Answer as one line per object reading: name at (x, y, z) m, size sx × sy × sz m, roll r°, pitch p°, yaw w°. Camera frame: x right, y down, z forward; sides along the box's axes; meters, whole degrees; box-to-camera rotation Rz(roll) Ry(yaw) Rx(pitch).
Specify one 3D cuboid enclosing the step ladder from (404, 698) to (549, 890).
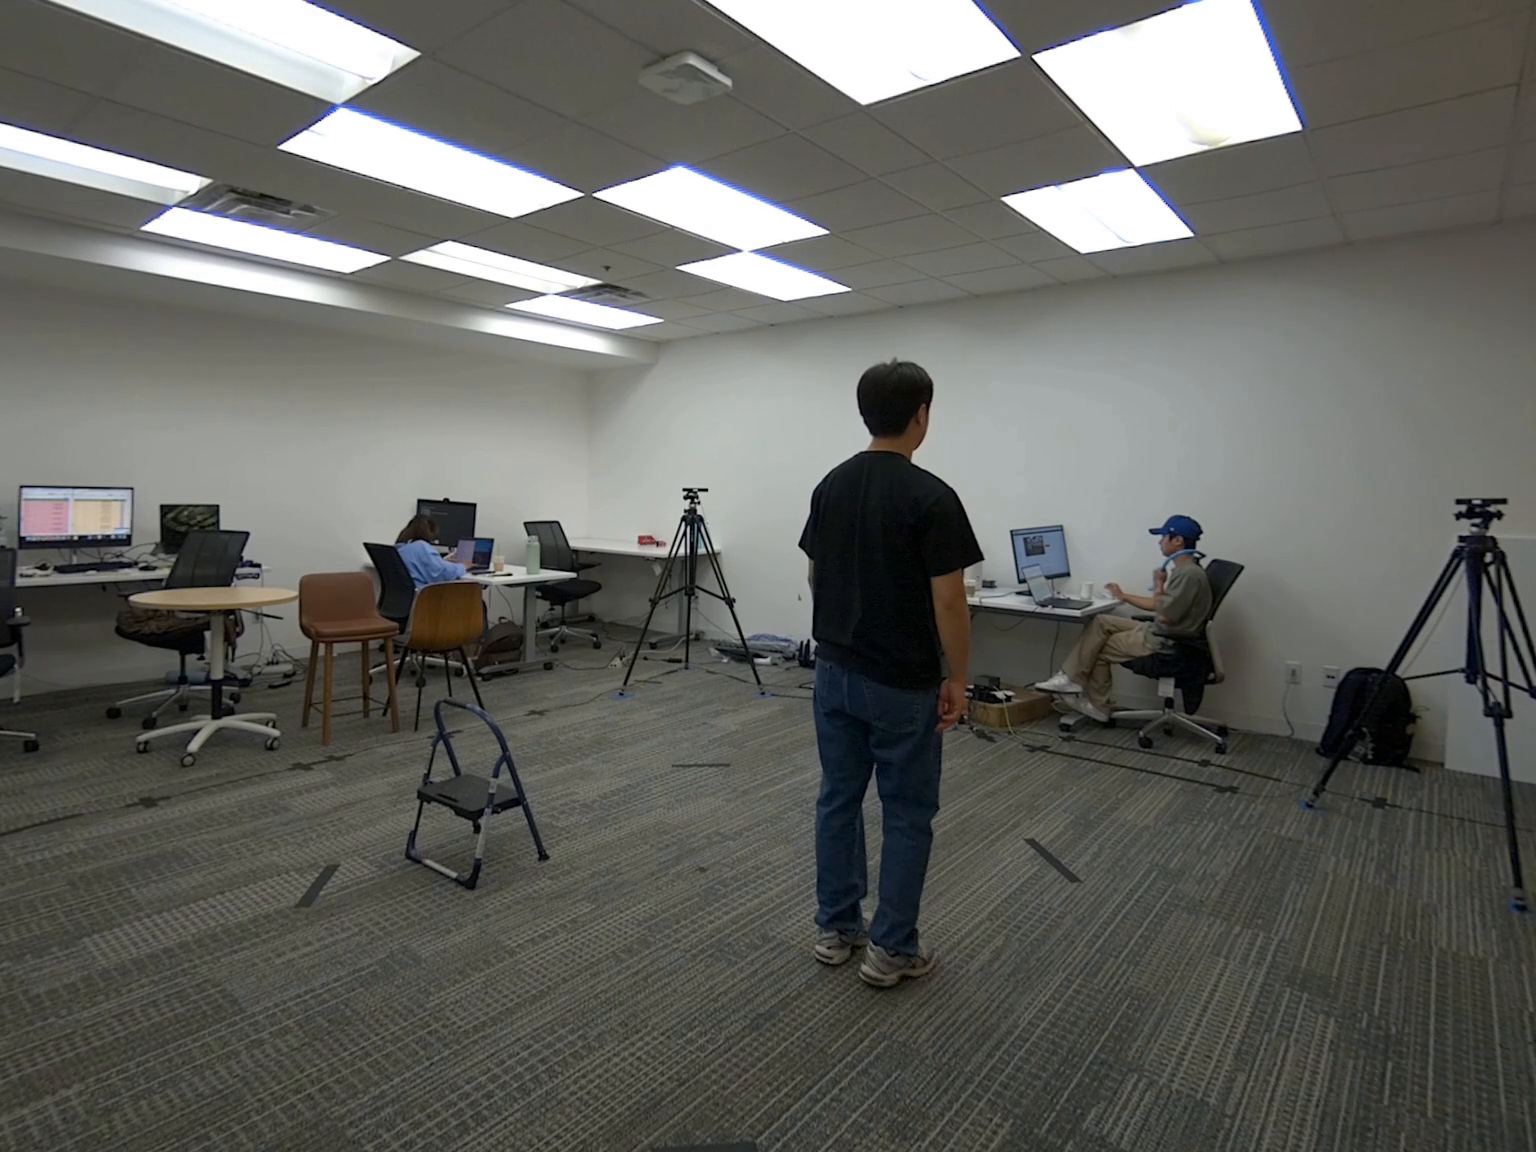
step ladder at (-1.093, 0.747, 3.157) m, size 0.444 × 0.604 × 0.339 m, roll 3°, pitch 4°, yaw 36°
